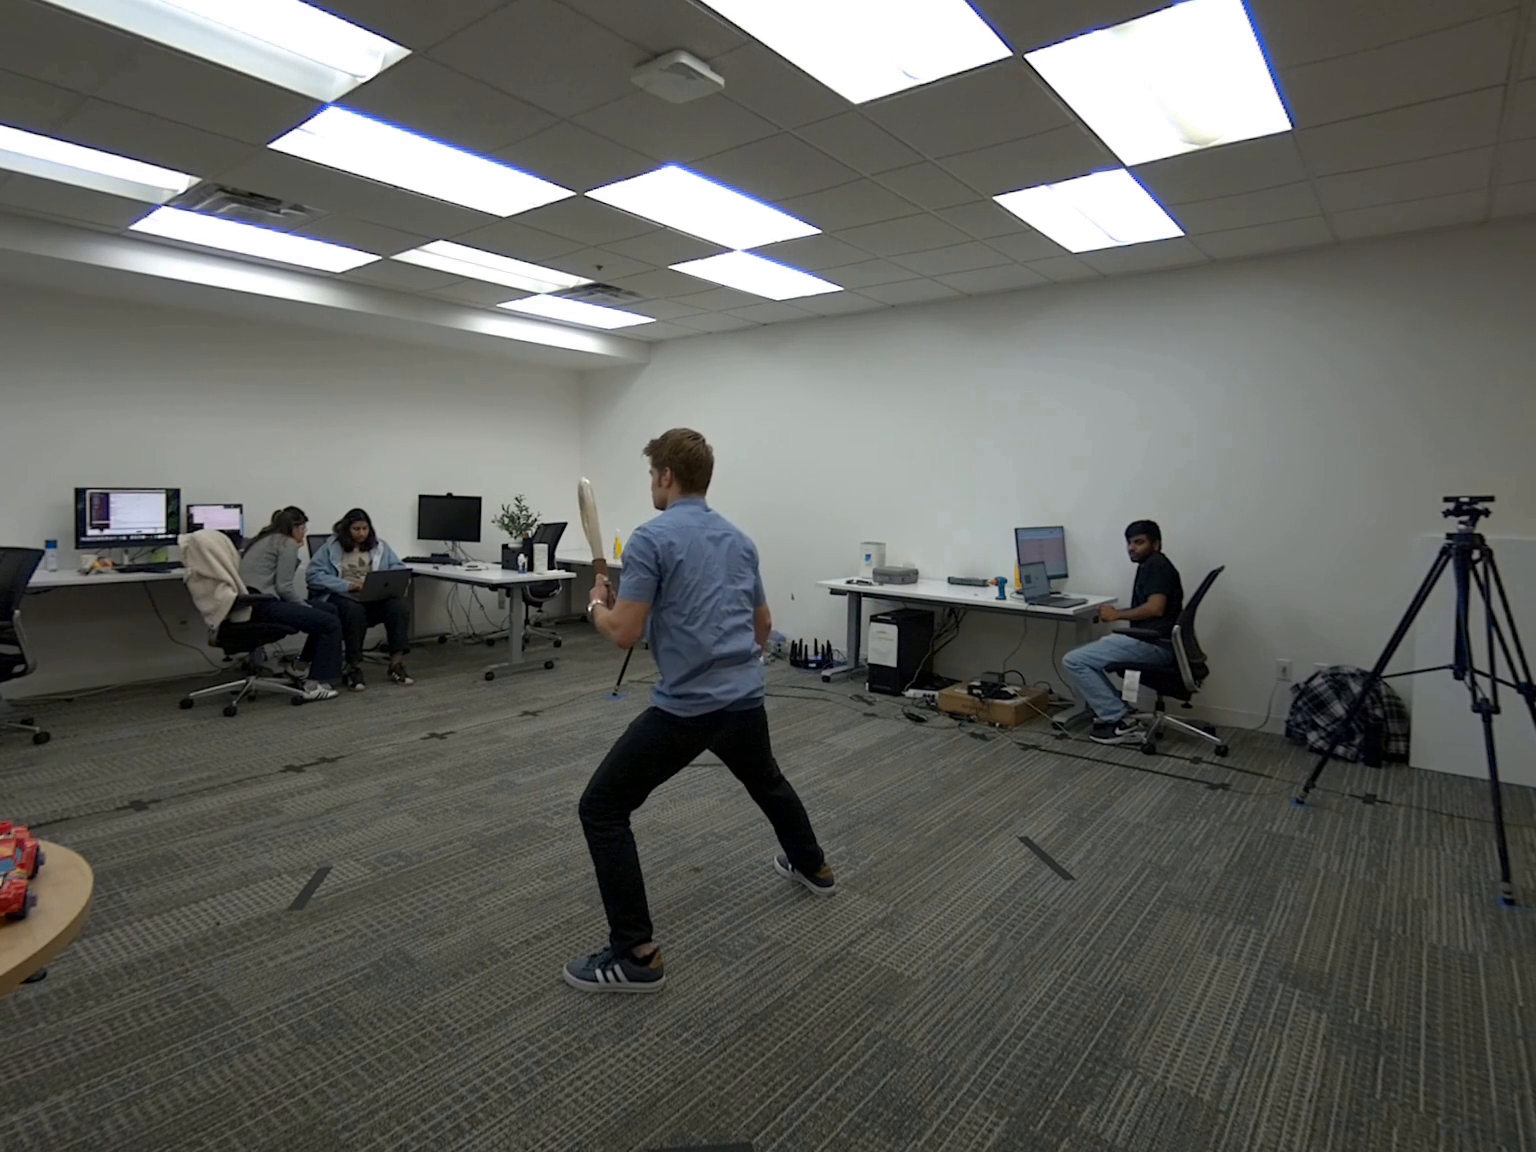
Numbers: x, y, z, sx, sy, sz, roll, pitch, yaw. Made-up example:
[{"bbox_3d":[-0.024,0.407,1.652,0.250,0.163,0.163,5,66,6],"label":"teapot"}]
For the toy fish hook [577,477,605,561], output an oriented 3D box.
[{"bbox_3d":[-0.573,-0.082,2.808,0.047,0.519,0.222,-9,-22,-17],"label":"toy fish hook"}]
